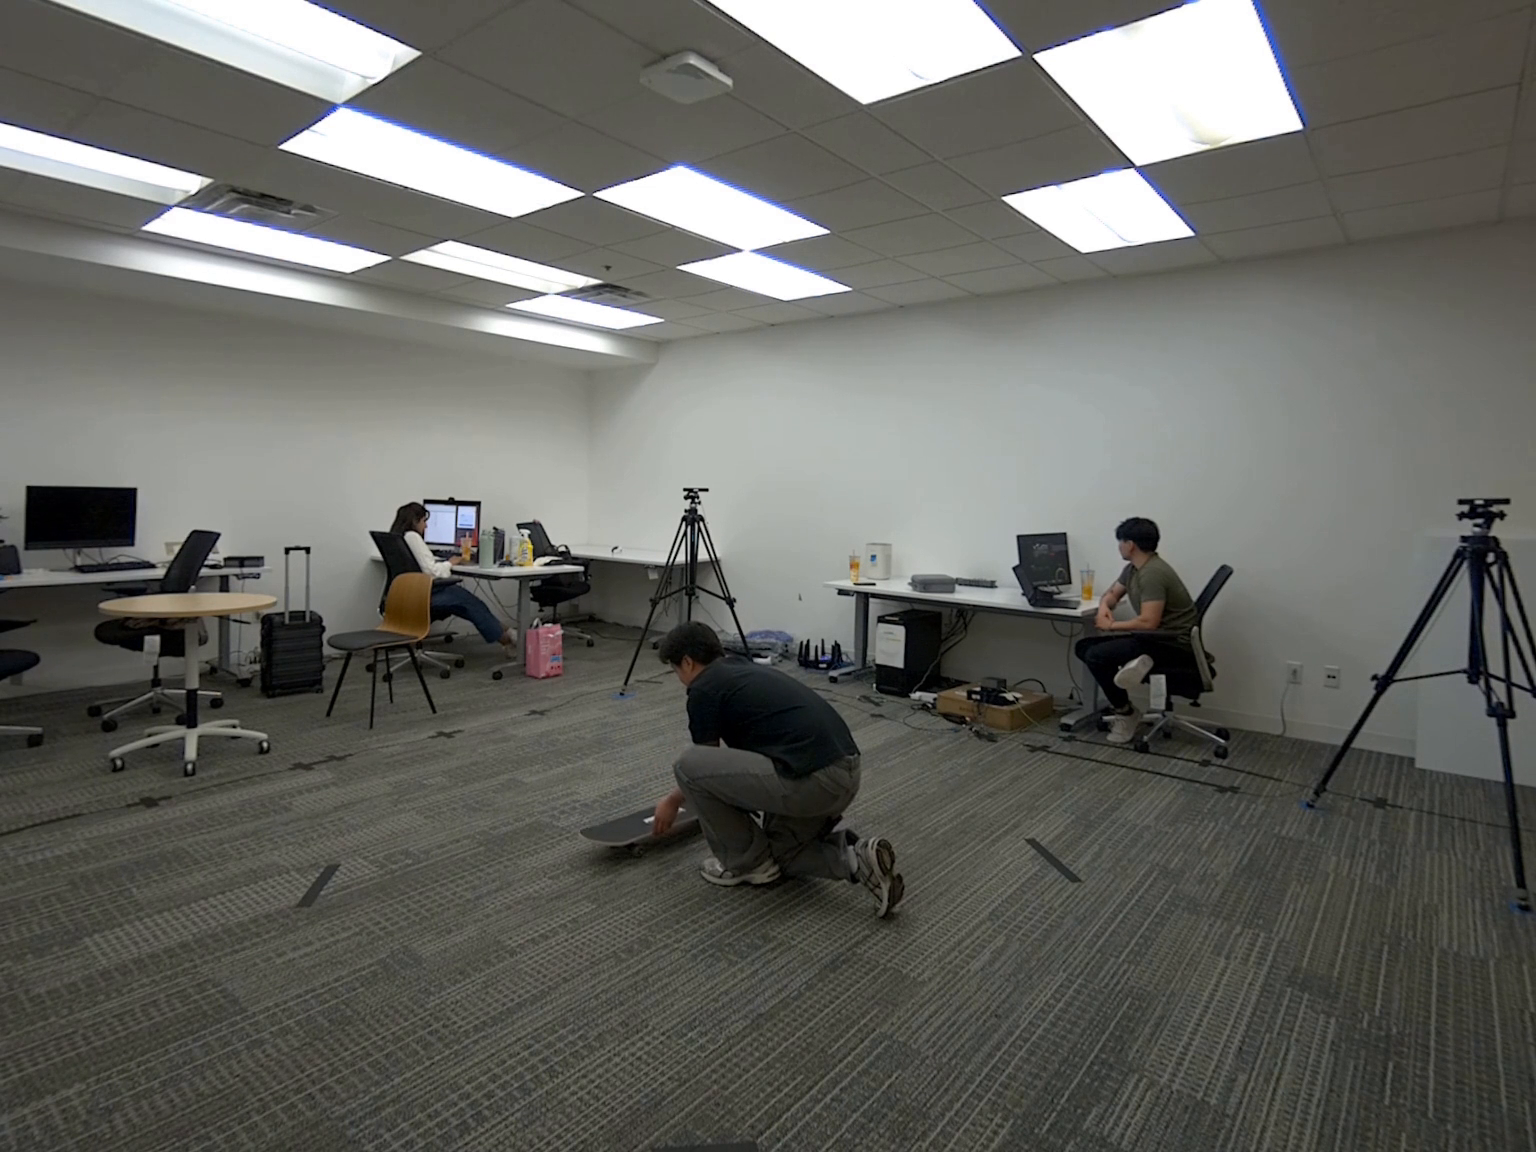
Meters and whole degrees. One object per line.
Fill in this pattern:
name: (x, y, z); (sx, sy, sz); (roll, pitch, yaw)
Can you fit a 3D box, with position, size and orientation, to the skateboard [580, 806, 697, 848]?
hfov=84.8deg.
skateboard: (-0.416, 0.979, 3.386); (0.200, 0.110, 0.762); (6, 7, 44)
